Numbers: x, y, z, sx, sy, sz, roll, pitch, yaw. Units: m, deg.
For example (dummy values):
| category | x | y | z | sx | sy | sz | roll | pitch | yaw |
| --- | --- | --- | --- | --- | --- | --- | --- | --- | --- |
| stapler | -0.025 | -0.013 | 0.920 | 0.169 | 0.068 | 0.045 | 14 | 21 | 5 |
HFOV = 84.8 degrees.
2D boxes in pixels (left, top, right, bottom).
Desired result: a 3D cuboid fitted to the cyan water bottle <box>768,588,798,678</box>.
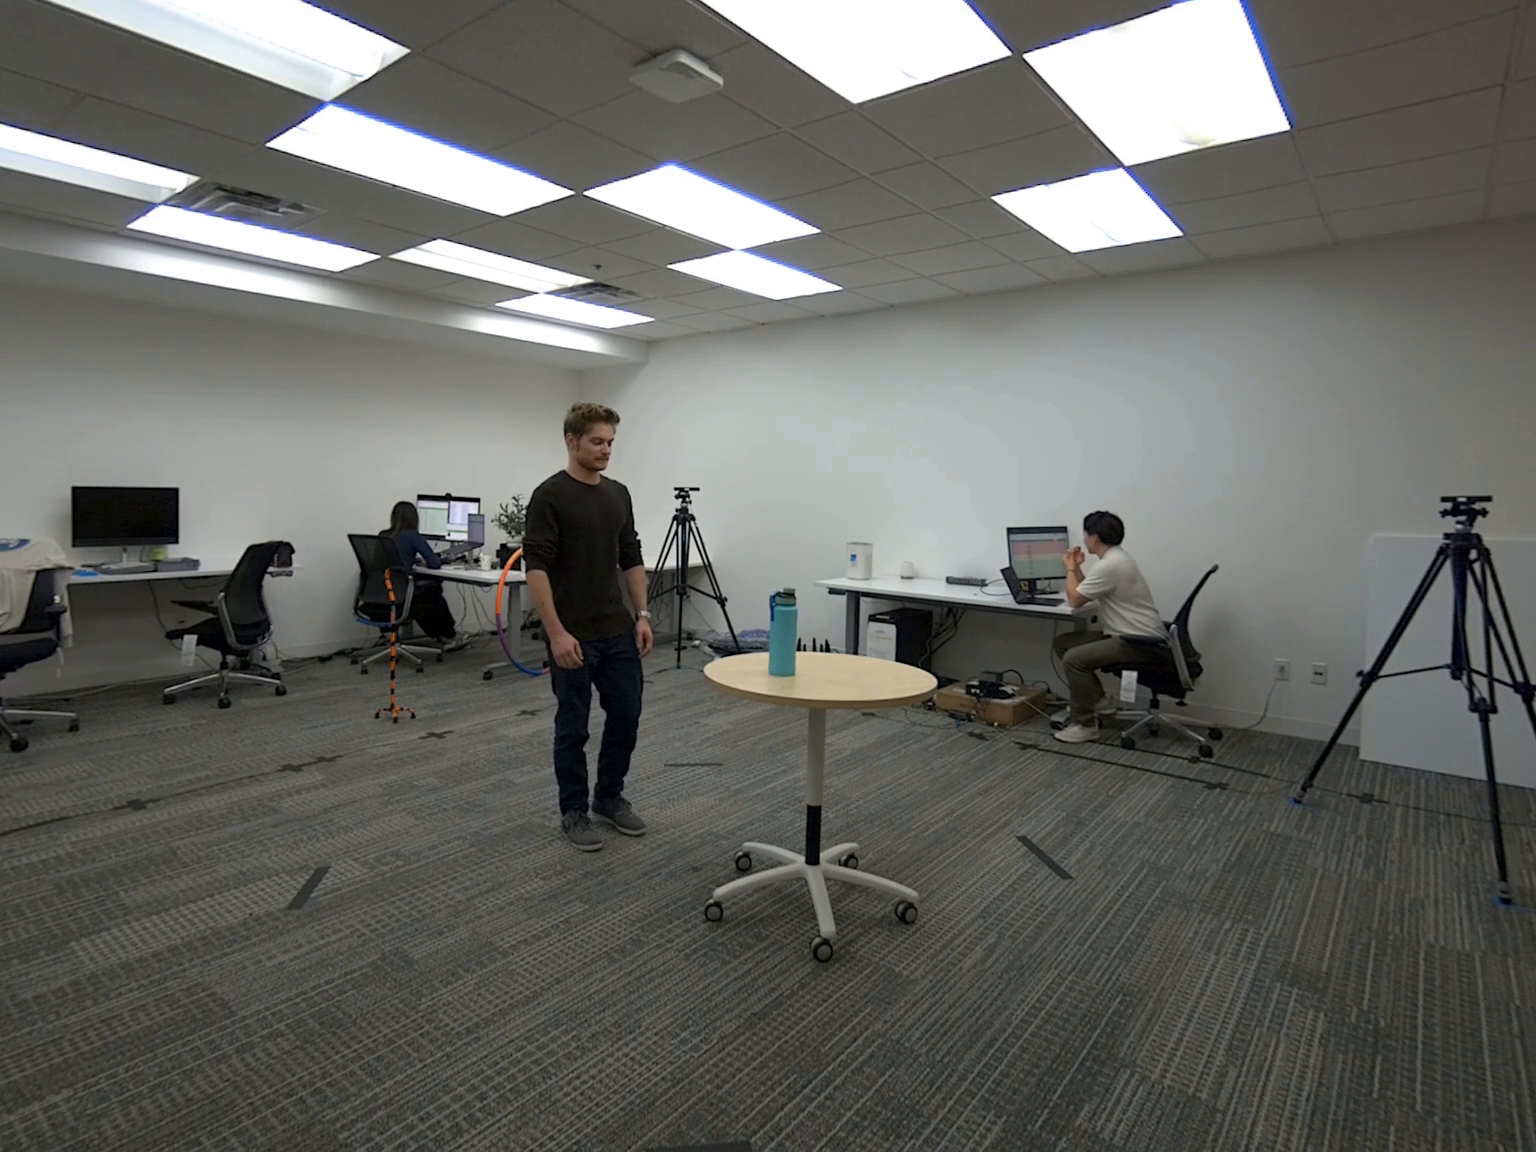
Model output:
| category | x | y | z | sx | sy | sz | roll | pitch | yaw |
| --- | --- | --- | --- | --- | --- | --- | --- | --- | --- |
| cyan water bottle | 0.043 | 0.180 | 2.789 | 0.092 | 0.282 | 0.093 | 0 | 4 | -2 |
